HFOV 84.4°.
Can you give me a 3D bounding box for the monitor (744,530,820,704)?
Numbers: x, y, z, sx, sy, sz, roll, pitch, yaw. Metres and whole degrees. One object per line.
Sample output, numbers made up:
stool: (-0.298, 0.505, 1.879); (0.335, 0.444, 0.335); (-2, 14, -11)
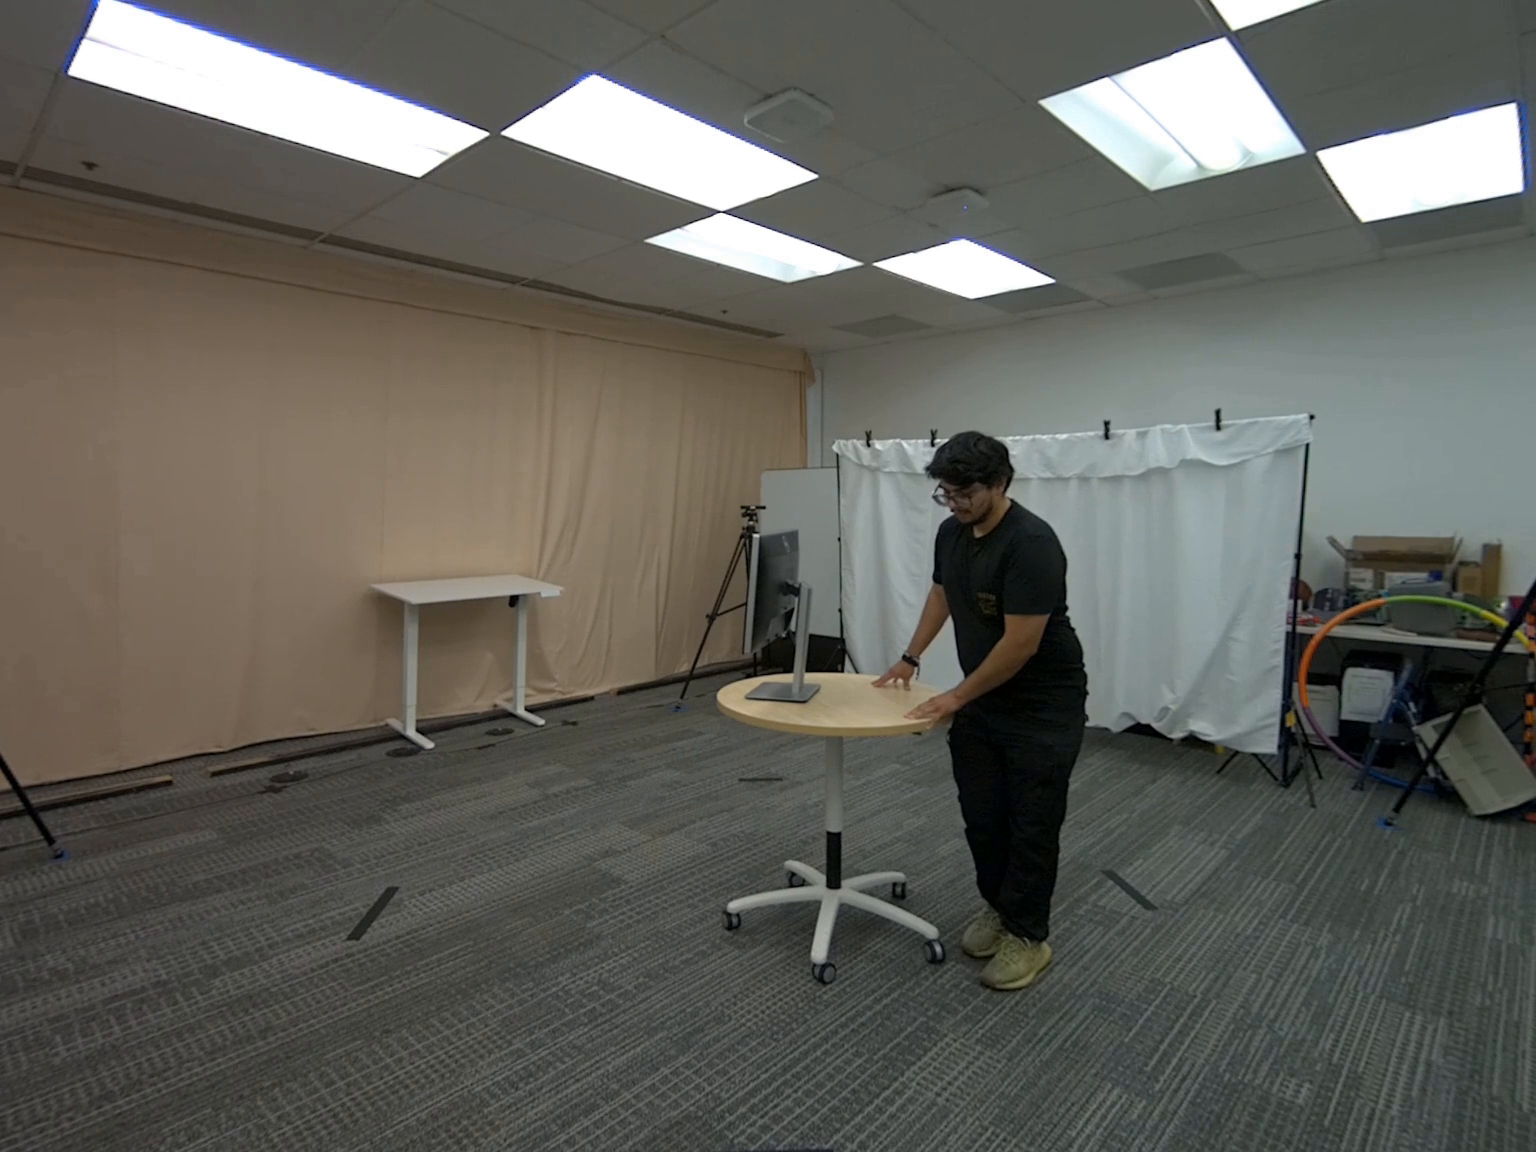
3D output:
monitor: (0.081, 0.129, 2.750); (0.214, 0.552, 0.556); (4, 5, 15)
